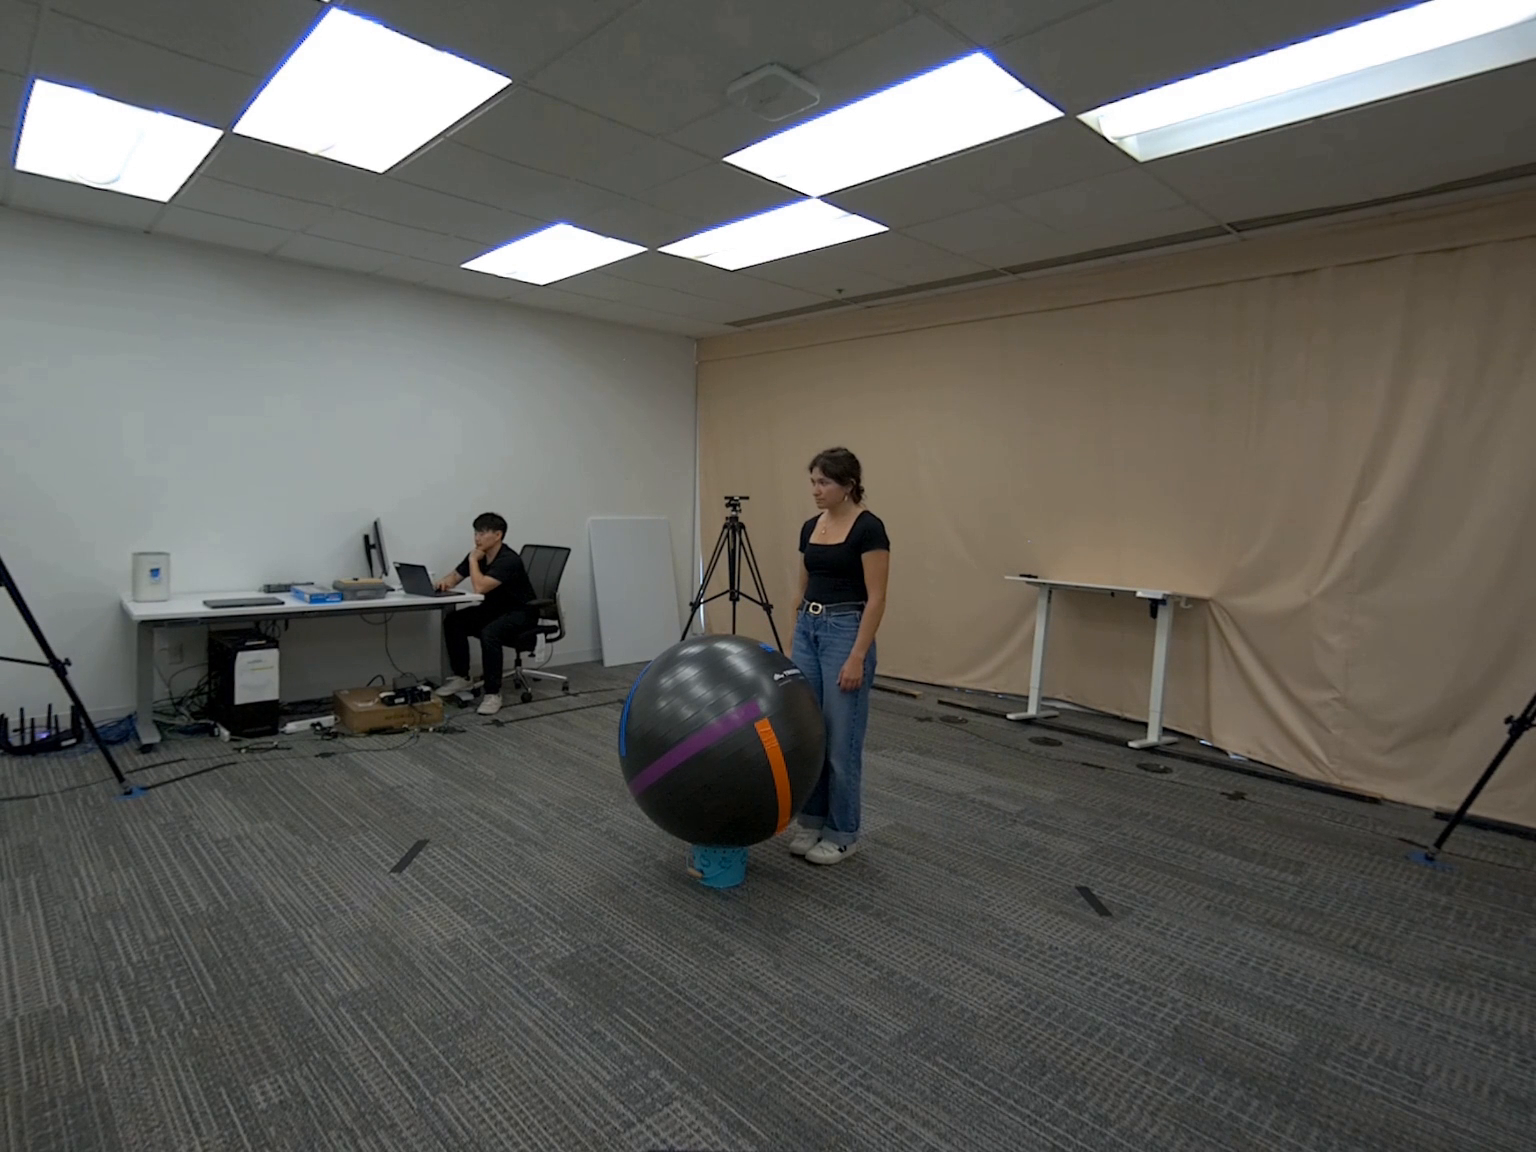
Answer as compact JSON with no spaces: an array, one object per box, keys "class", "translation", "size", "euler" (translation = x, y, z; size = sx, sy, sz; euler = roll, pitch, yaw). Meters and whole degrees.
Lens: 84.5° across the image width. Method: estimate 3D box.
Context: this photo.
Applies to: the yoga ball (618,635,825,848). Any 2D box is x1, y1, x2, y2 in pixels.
[{"class":"yoga ball","translation":[-0.173,0.594,3.066],"size":[0.757,0.756,0.761],"euler":[1,4,-1]}]
